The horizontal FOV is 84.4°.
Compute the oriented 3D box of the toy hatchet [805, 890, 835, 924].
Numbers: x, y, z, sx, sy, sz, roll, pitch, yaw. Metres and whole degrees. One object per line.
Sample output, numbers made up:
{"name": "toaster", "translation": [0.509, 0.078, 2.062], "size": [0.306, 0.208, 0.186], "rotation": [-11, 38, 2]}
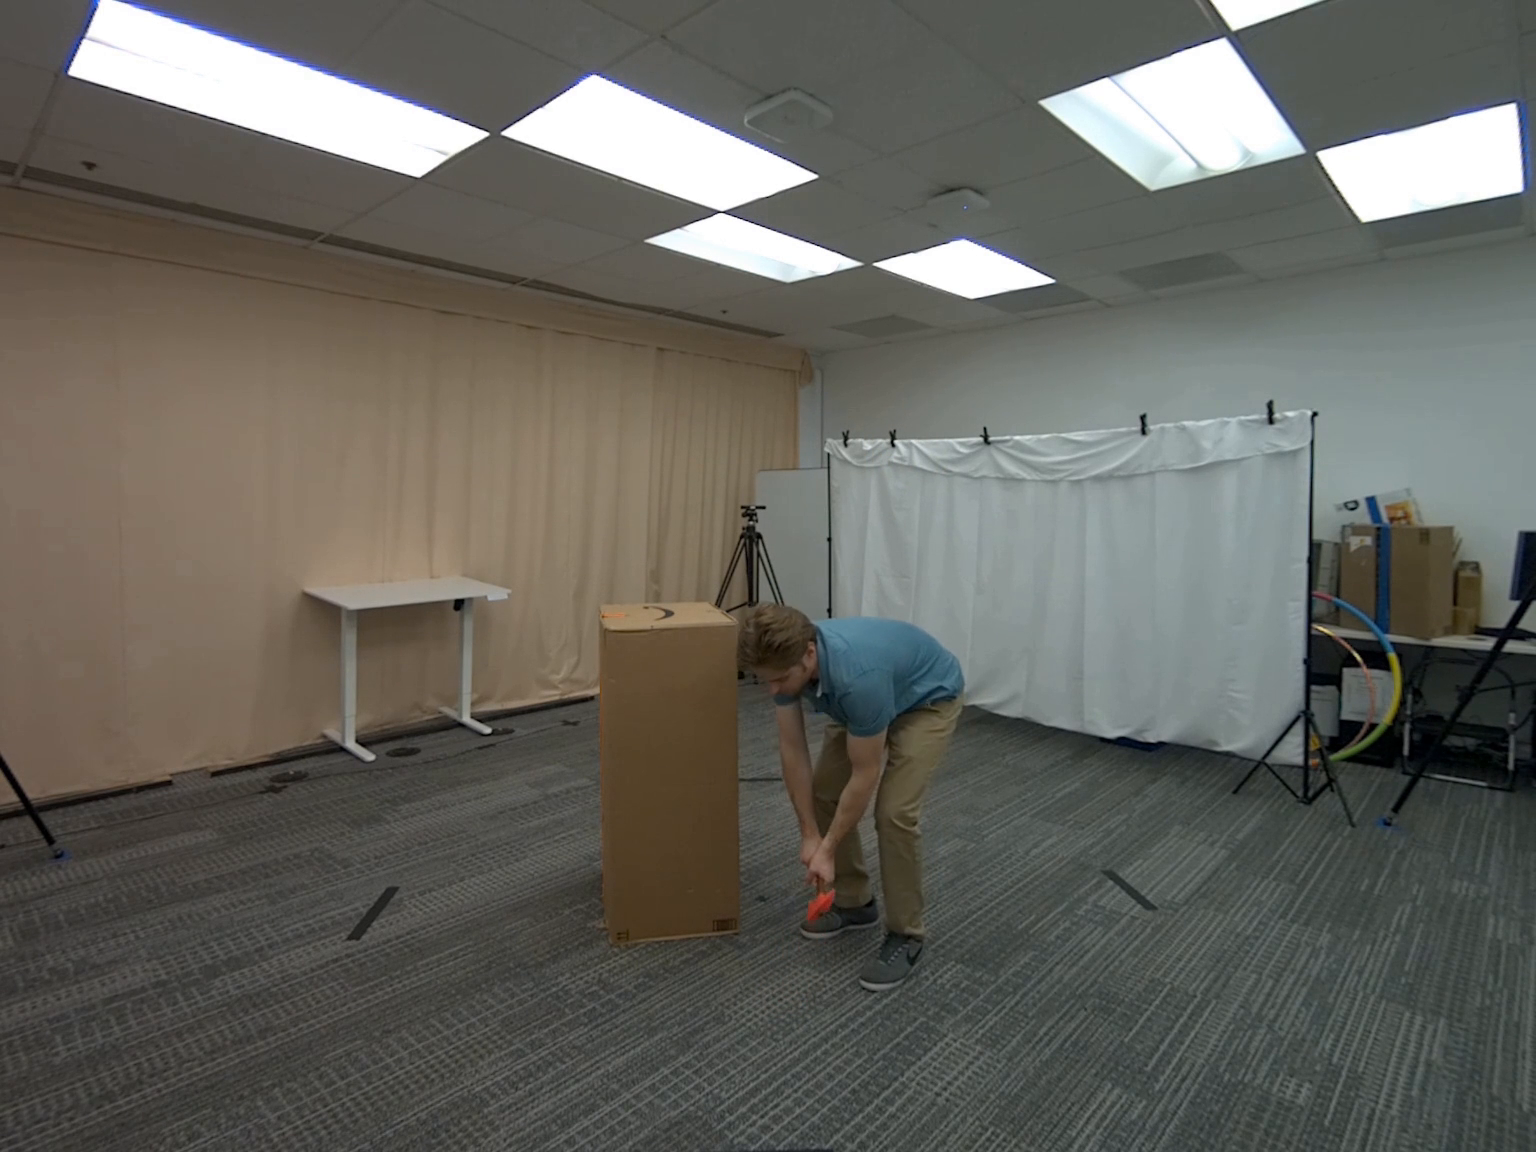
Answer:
{"name": "toy hatchet", "translation": [0.134, 0.903, 2.450], "size": [0.029, 0.131, 0.272], "rotation": [29, 1, -9]}
